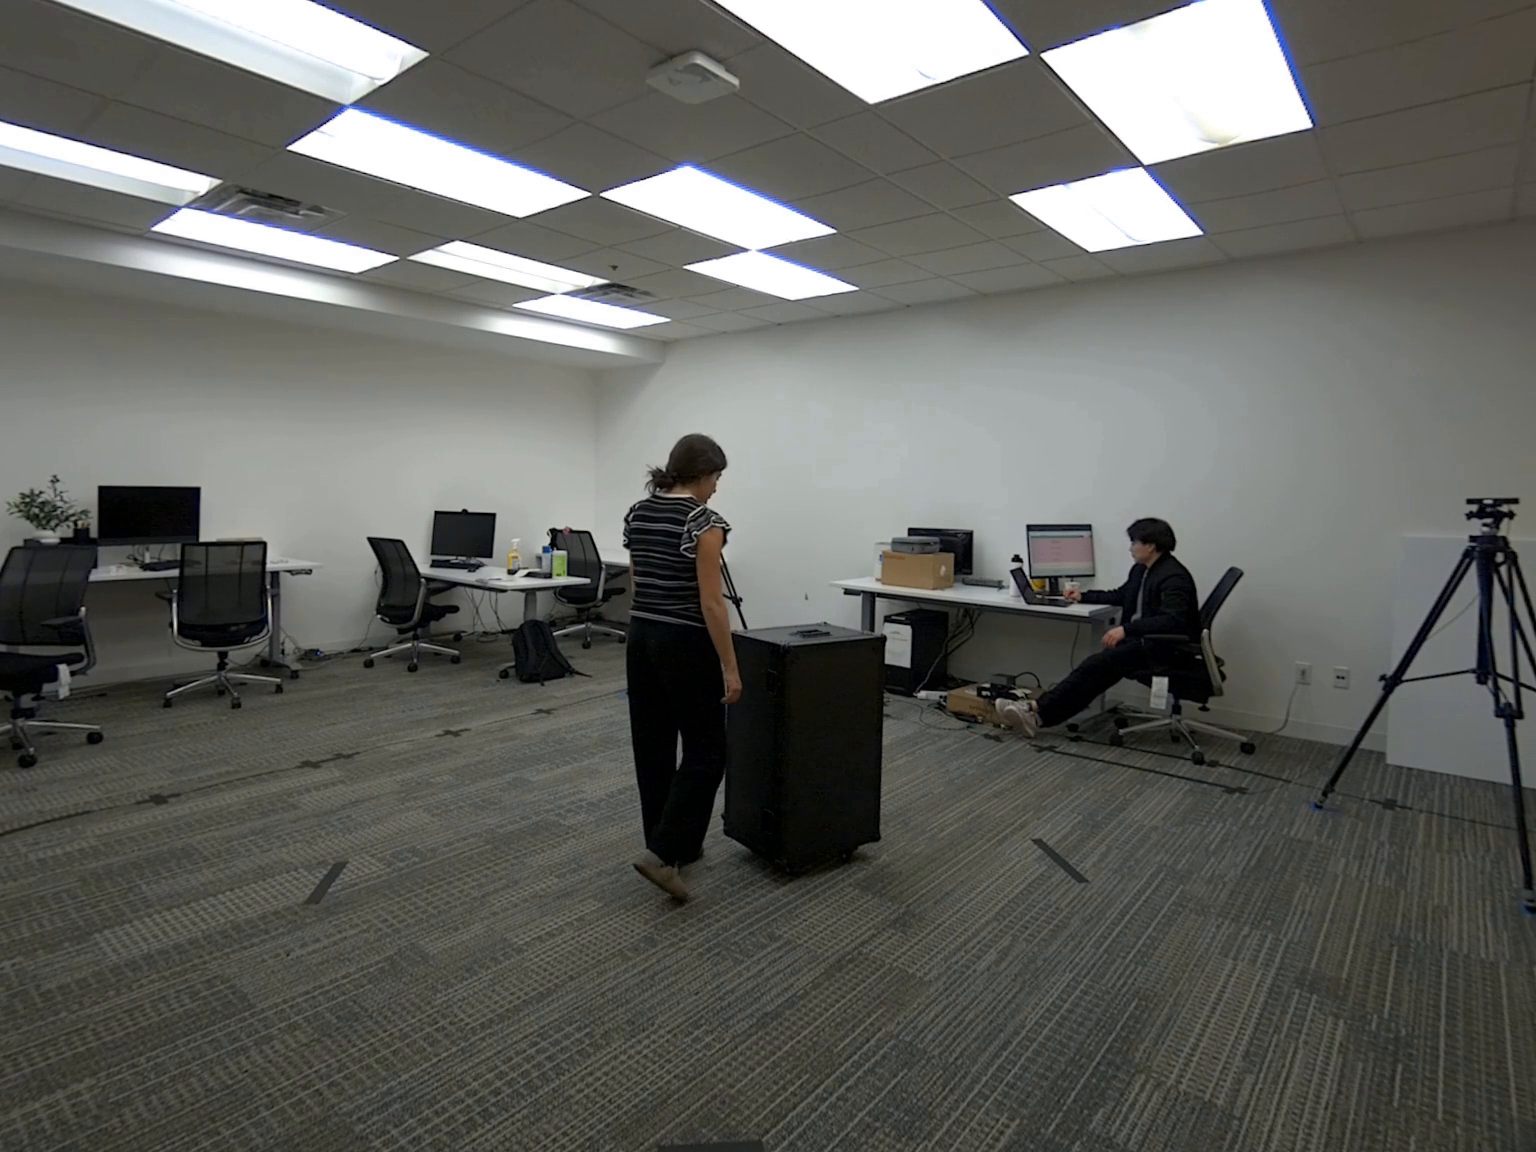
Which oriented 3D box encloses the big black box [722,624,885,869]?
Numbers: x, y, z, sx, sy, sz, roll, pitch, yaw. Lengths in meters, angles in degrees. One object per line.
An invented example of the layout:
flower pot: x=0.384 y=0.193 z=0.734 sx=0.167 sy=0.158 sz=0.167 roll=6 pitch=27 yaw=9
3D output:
big black box: x=0.119 y=0.638 z=3.226 sx=0.506 sy=0.859 sz=0.409 roll=-2 pitch=4 yaw=-35
